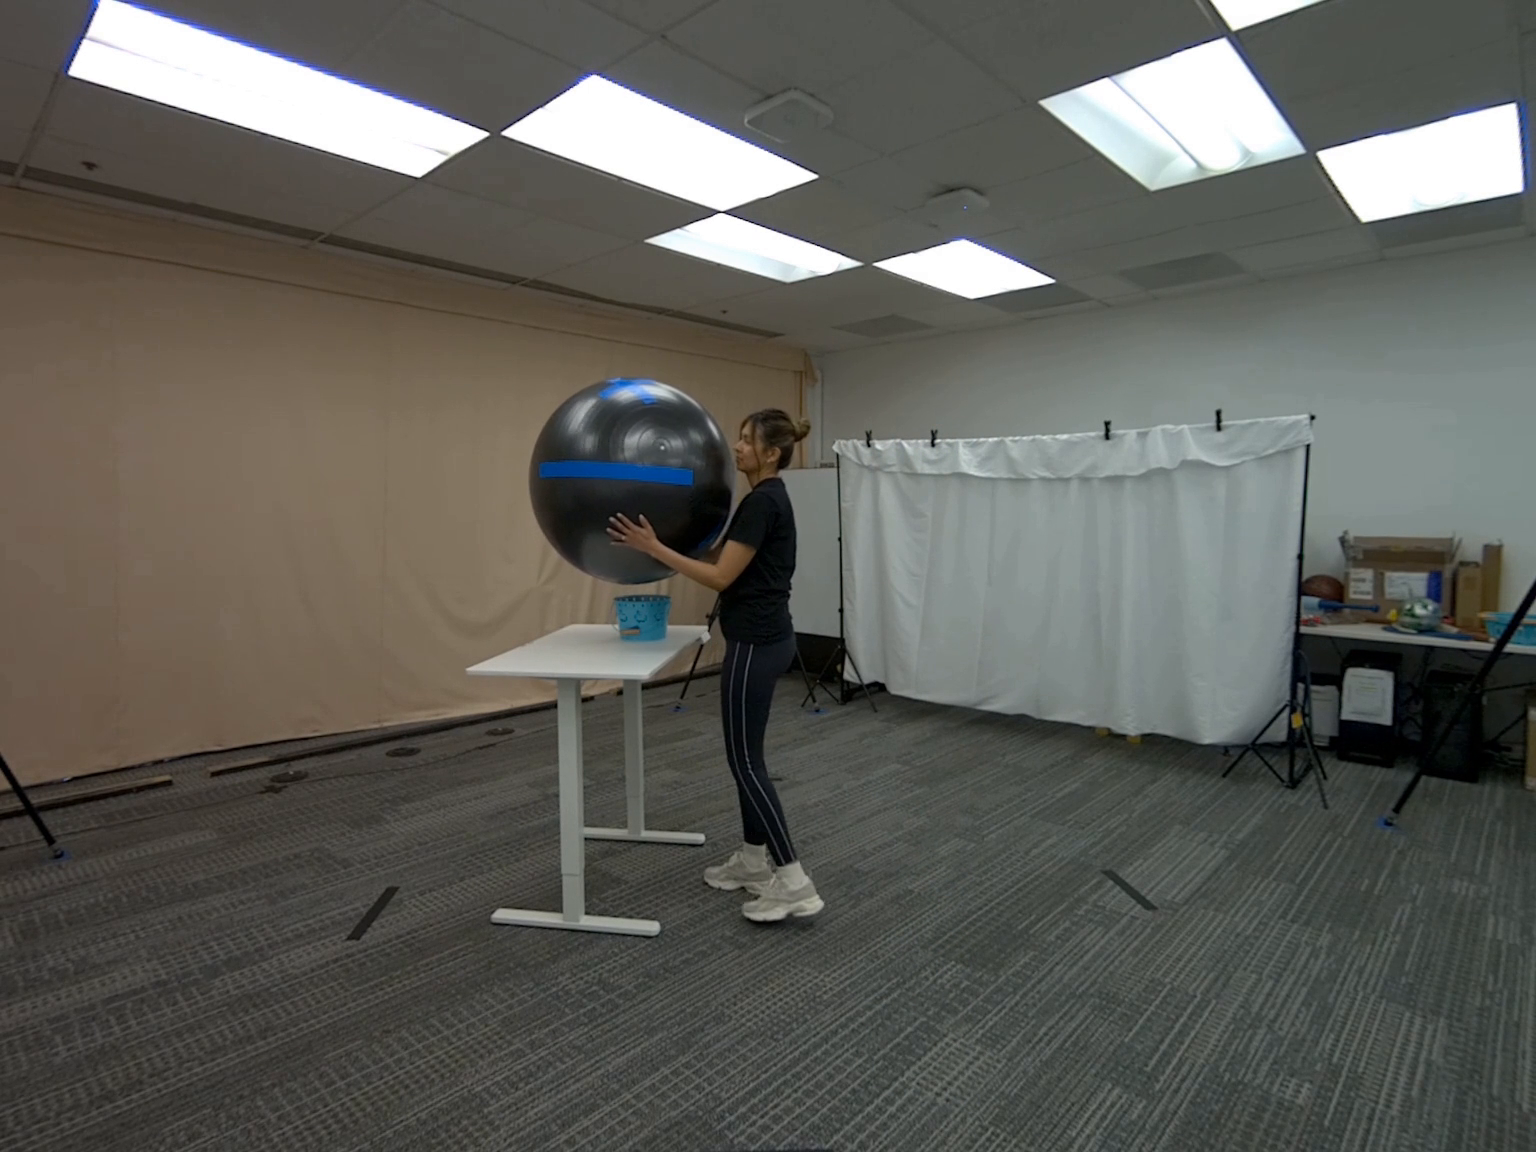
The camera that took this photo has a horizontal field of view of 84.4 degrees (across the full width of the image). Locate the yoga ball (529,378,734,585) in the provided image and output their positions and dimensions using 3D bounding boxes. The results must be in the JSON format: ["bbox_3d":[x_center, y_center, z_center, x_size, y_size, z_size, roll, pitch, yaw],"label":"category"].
[{"bbox_3d":[-0.496,-0.344,3.116,0.757,0.756,0.761,0,4,-2],"label":"yoga ball"}]
